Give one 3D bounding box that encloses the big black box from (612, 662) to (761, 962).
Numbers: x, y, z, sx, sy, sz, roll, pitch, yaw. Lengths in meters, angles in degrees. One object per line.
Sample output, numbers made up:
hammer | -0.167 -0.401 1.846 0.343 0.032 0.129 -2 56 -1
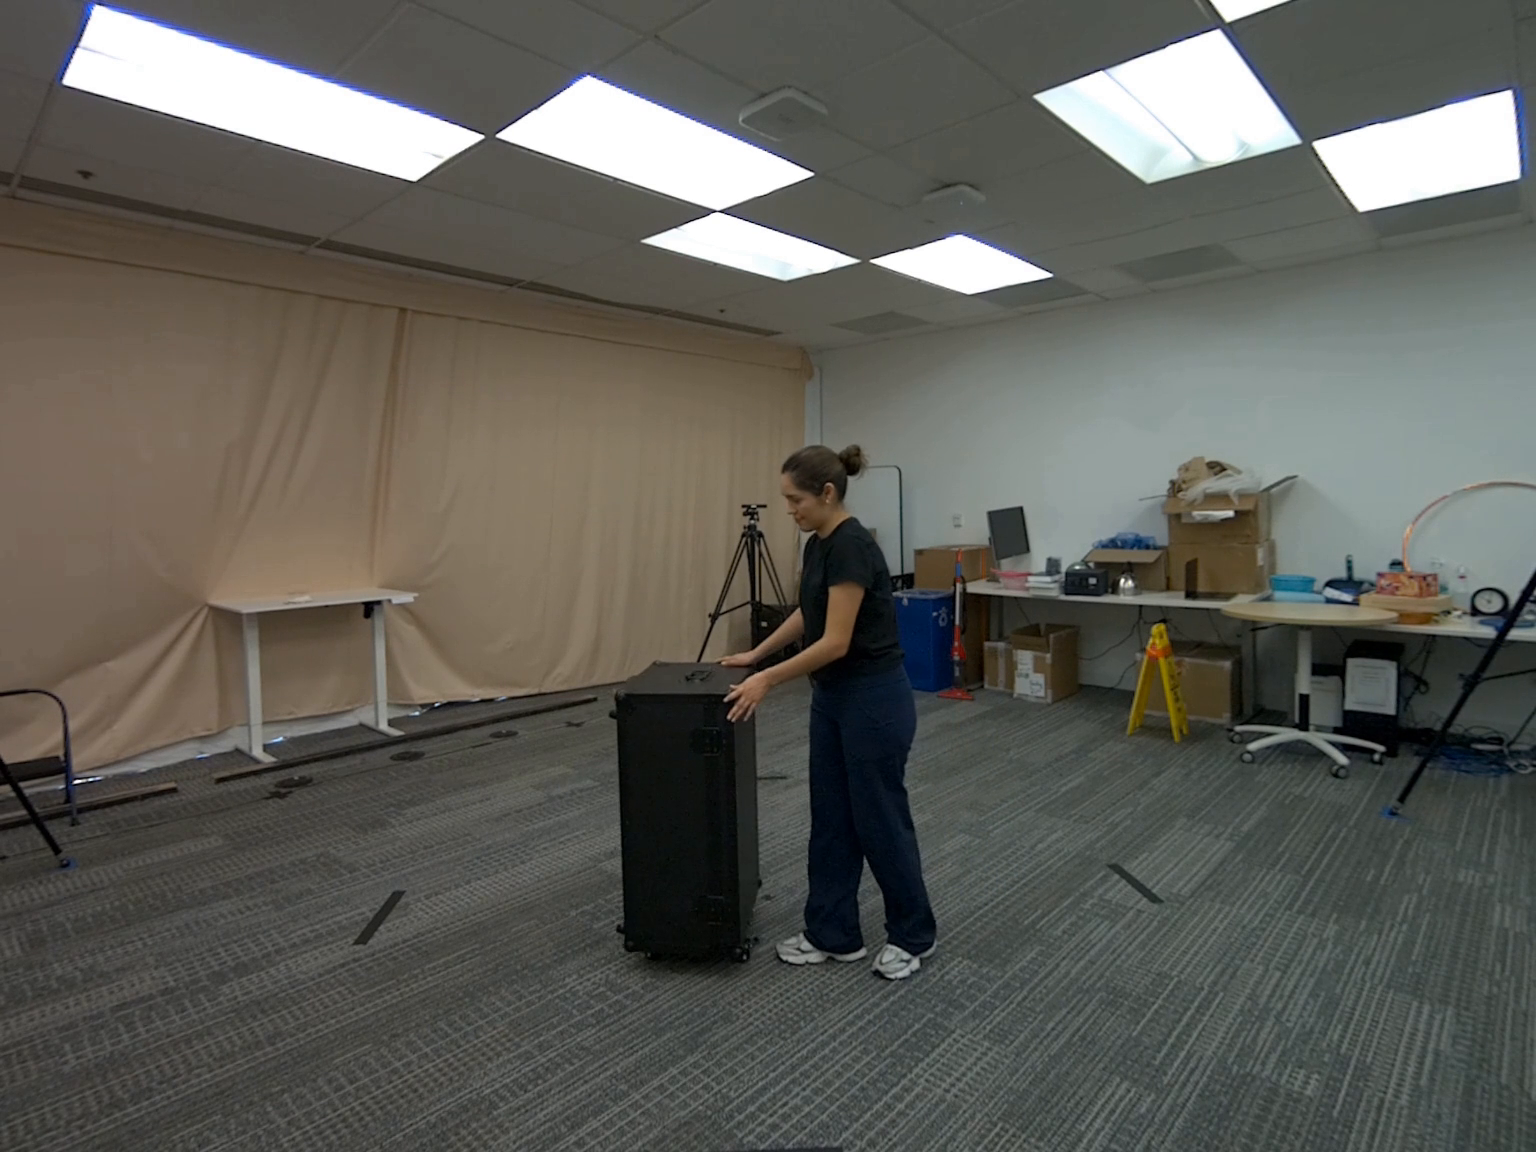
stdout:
big black box | -0.236 0.745 2.699 0.400 0.859 0.517 -2 3 8
